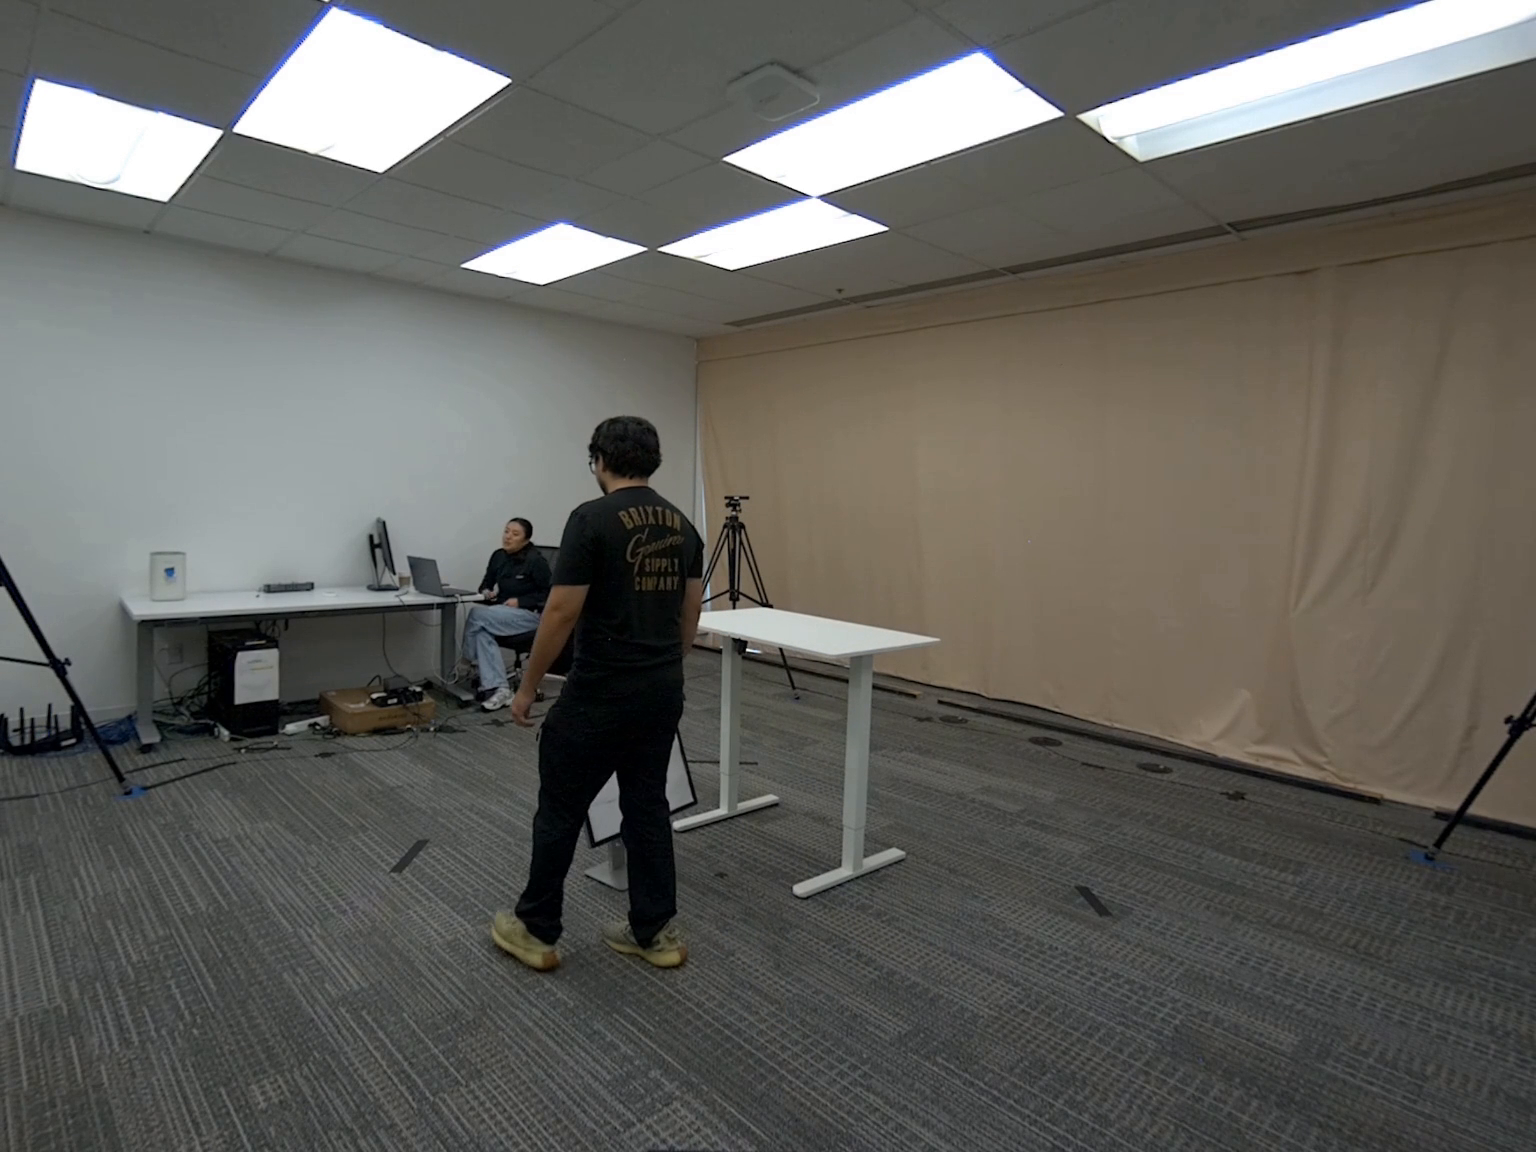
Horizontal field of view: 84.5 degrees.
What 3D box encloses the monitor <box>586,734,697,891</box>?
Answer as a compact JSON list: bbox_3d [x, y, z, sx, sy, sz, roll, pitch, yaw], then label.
[{"bbox_3d":[-0.545,0.833,3.107,0.214,0.555,0.553,-9,-3,35],"label":"monitor"}]
